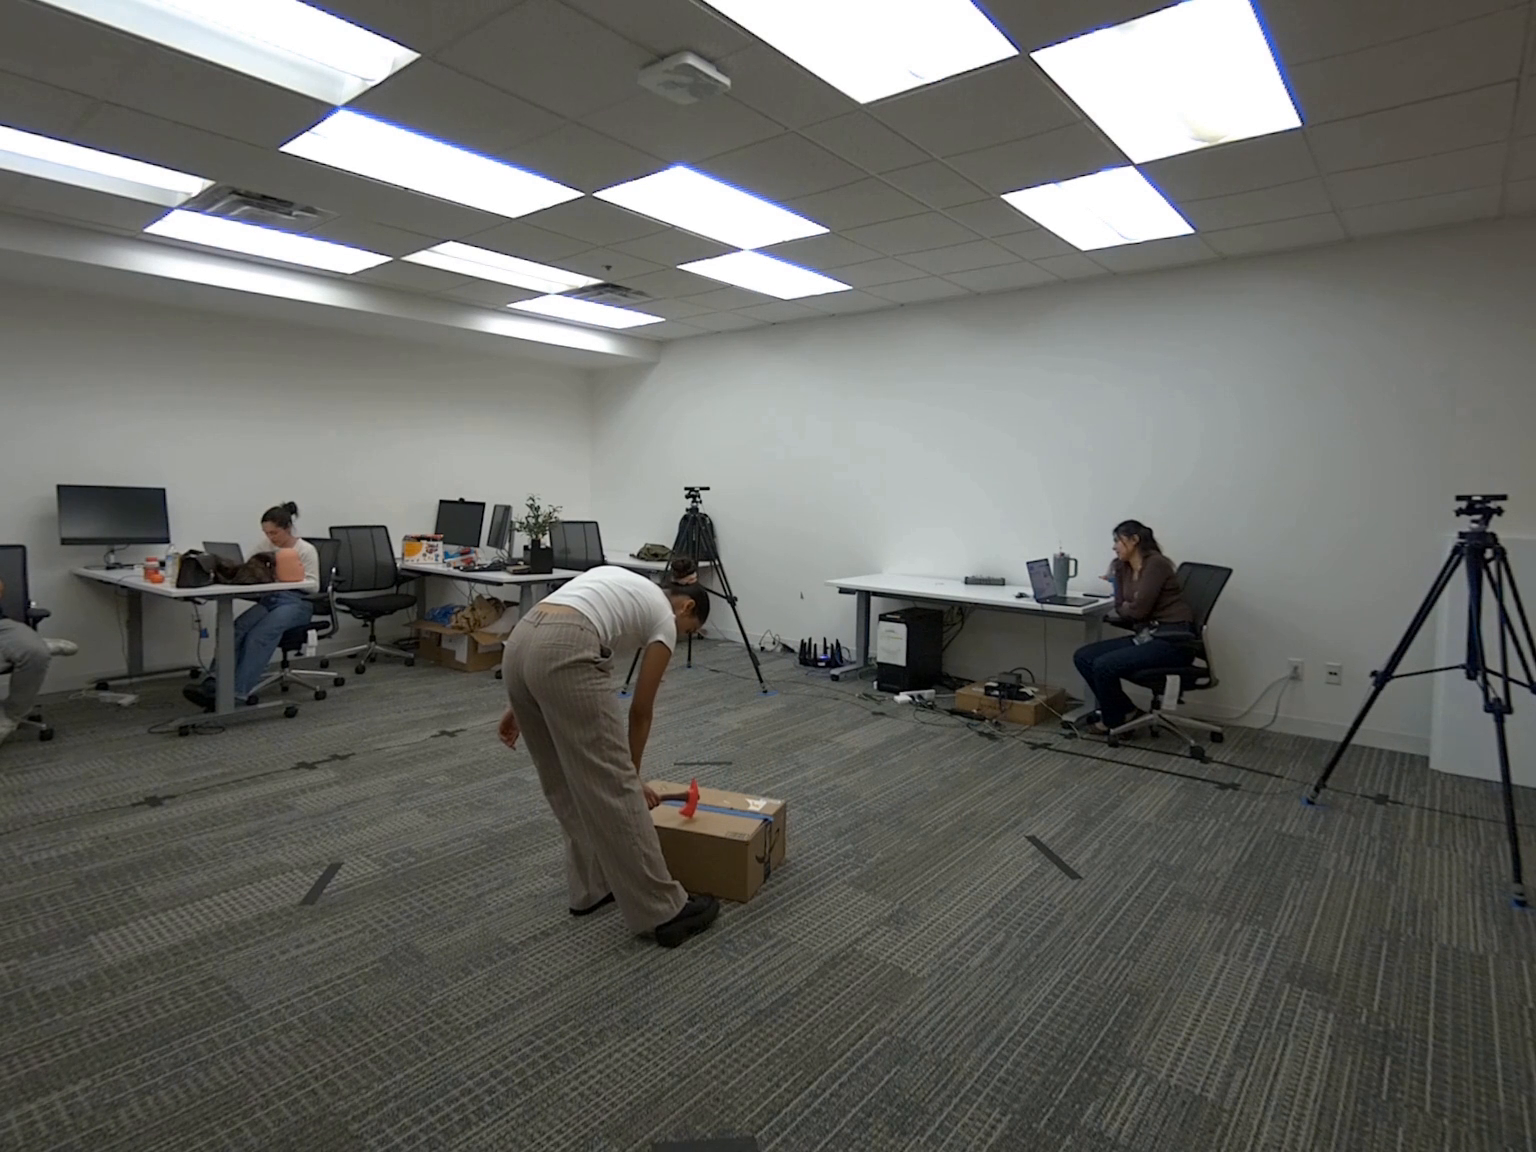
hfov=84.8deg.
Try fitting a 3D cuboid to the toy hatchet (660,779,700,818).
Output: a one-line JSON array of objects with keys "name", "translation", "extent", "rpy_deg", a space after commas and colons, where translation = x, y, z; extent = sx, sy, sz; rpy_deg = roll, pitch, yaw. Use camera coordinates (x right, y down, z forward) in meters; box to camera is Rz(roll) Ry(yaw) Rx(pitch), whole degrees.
[{"name": "toy hatchet", "translation": [-0.357, 0.810, 2.973], "extent": [0.264, 0.130, 0.030], "rpy_deg": [-17, 8, -35]}]
